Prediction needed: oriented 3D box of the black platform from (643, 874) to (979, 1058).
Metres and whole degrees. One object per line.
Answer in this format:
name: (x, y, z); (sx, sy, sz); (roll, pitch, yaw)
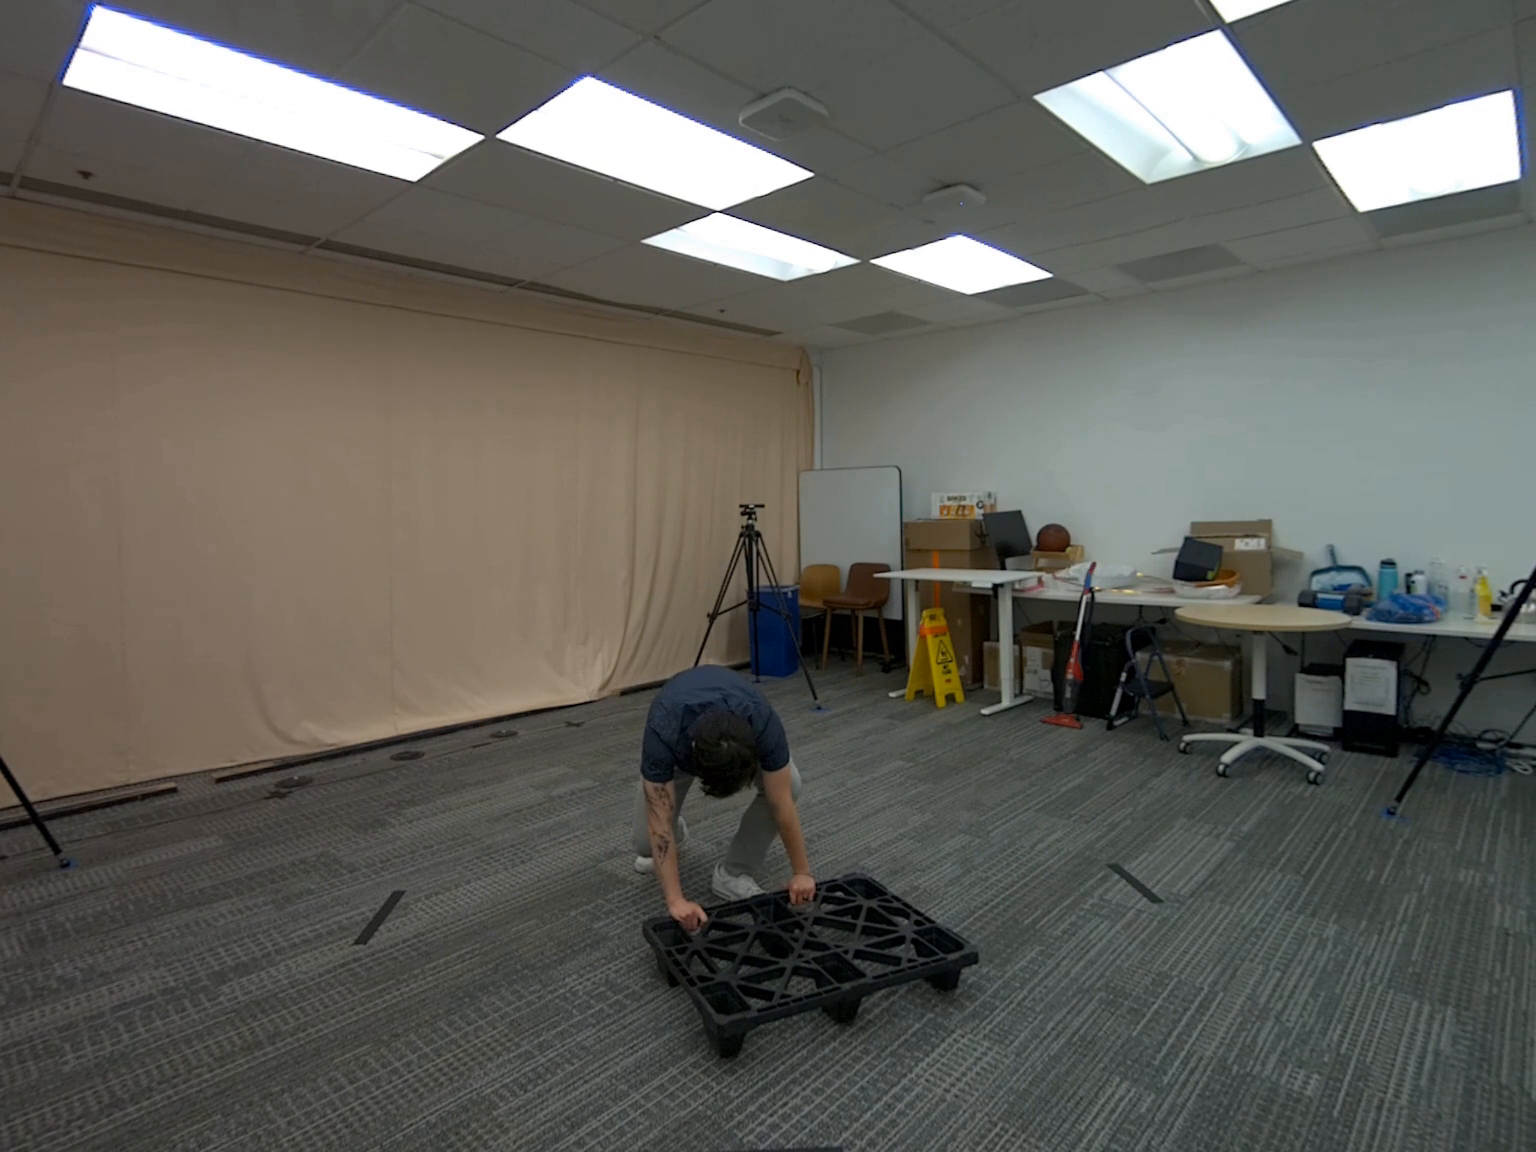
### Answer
black platform: (0.115, 1.113, 2.451); (0.787, 0.143, 0.620); (-3, 4, -25)
